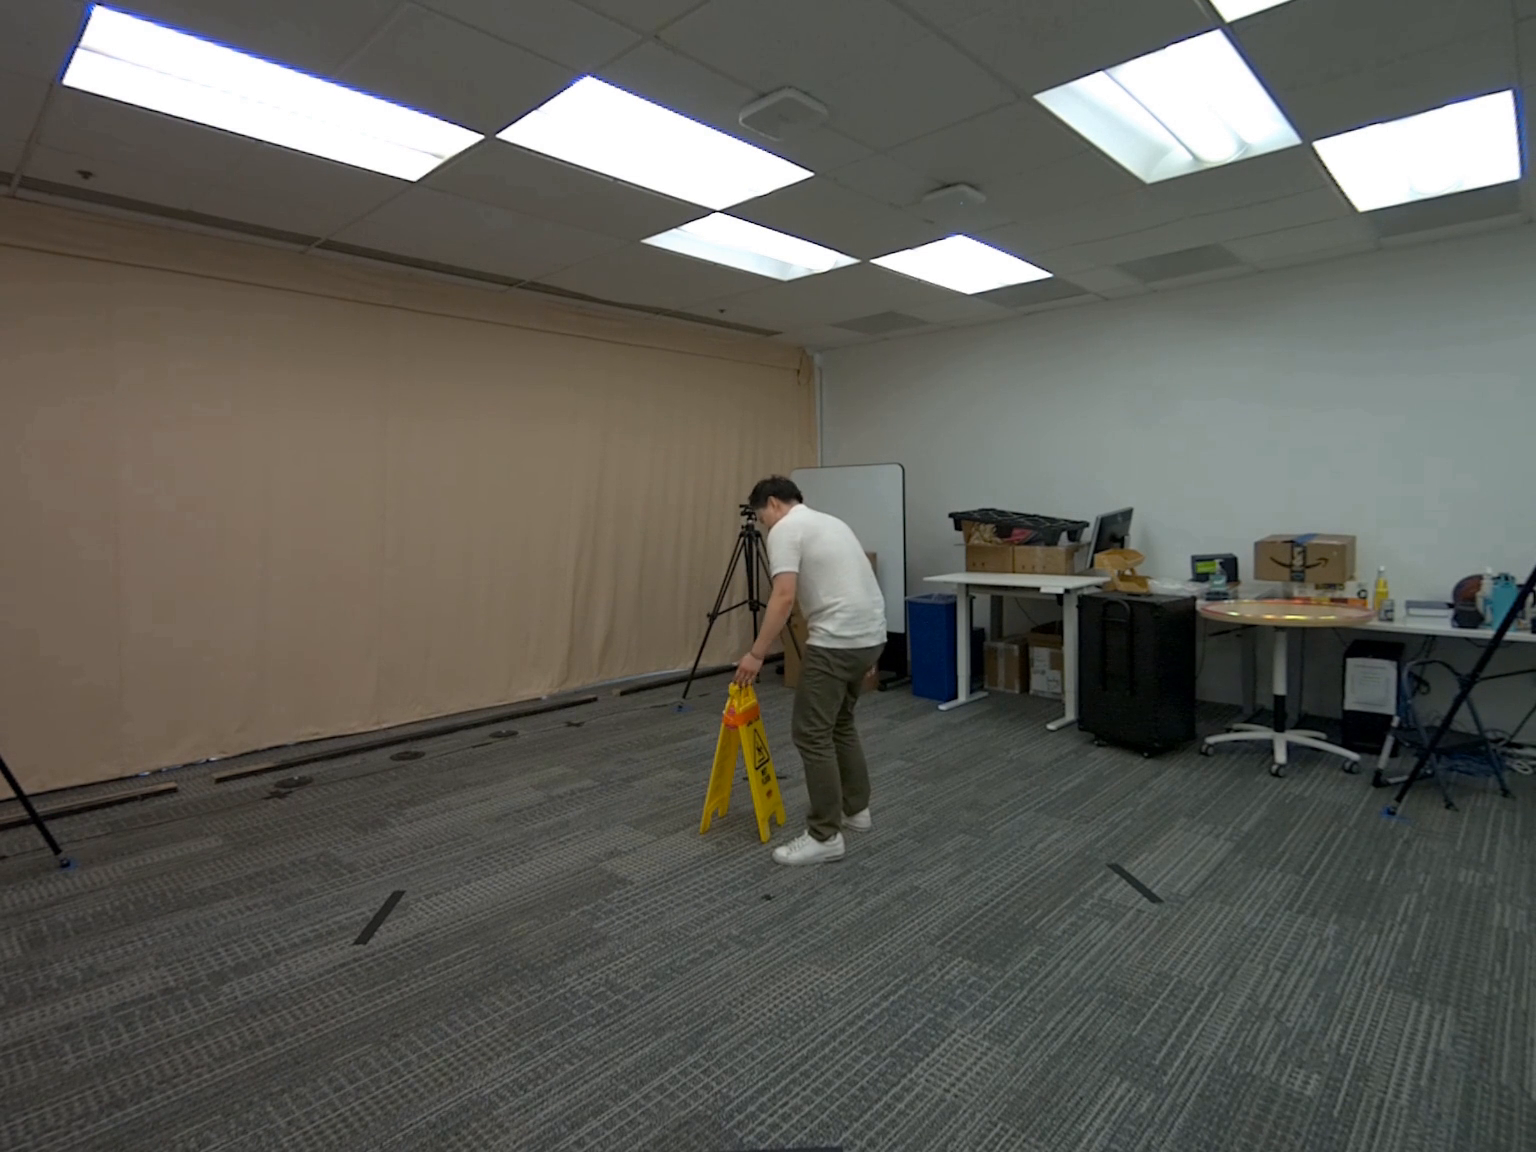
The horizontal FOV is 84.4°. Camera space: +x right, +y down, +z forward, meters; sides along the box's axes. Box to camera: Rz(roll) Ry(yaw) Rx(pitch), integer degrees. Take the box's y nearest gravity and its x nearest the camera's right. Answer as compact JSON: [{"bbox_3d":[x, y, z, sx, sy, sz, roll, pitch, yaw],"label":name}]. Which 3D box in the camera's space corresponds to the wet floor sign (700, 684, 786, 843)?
[{"bbox_3d":[-0.114,0.764,3.628,0.296,0.645,0.276,-1,1,21],"label":"wet floor sign"}]
